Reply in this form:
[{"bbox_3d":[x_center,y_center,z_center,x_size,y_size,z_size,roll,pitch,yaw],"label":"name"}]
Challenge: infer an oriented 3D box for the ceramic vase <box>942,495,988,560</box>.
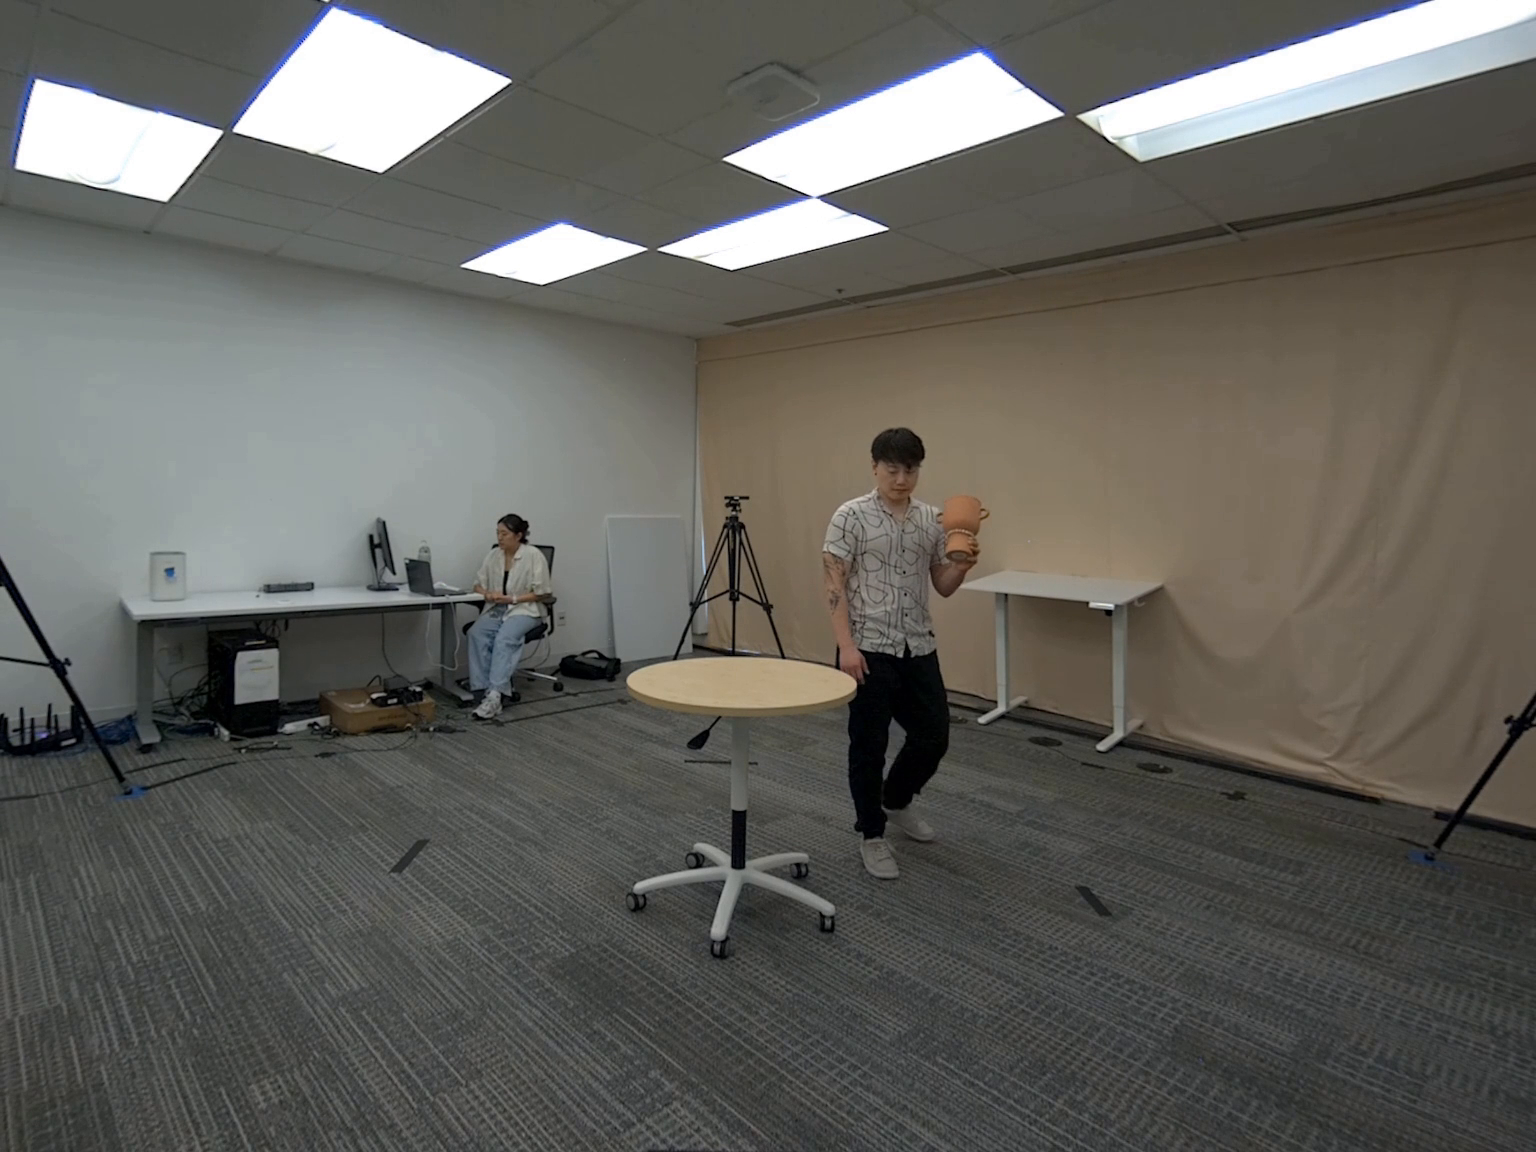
[{"bbox_3d":[0.698,-0.165,3.043,0.133,0.223,0.159,17,-27,-15],"label":"ceramic vase"}]
